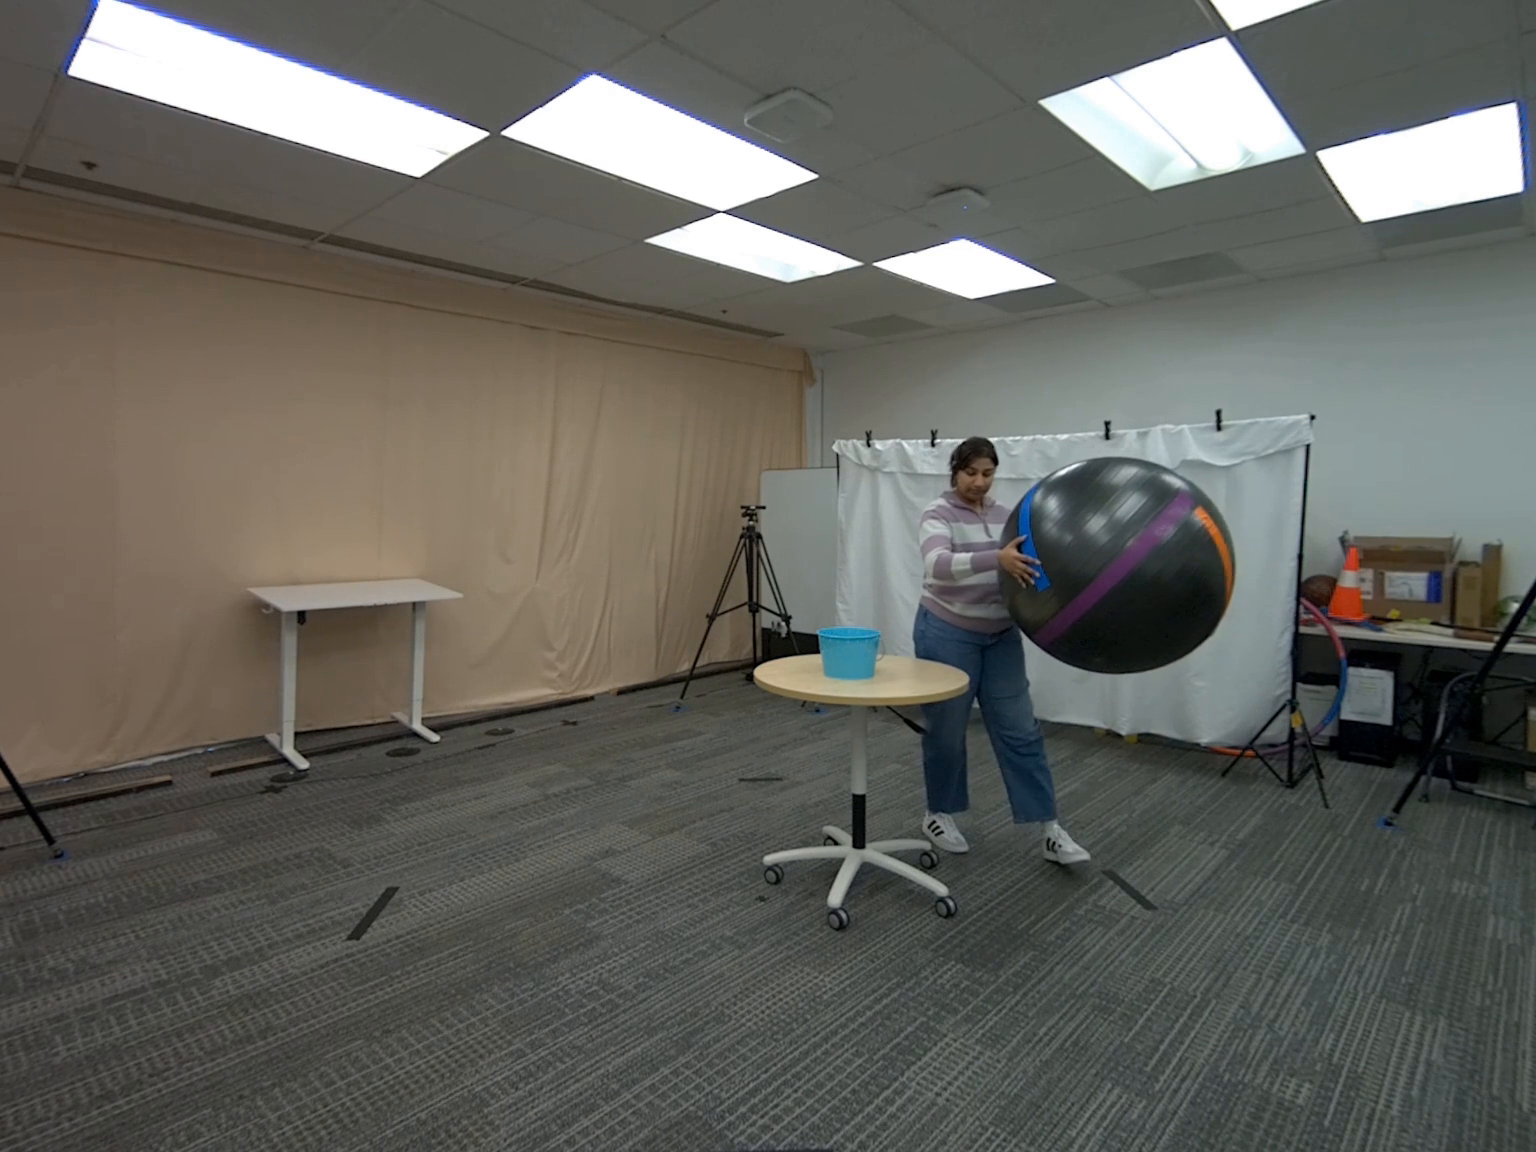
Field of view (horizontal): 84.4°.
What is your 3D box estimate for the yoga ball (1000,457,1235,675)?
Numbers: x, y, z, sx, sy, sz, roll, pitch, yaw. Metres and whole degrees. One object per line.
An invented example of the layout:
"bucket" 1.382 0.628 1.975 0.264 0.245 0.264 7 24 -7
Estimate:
"yoga ball" 1.223 -0.028 2.962 0.757 0.756 0.760 0 4 -2
